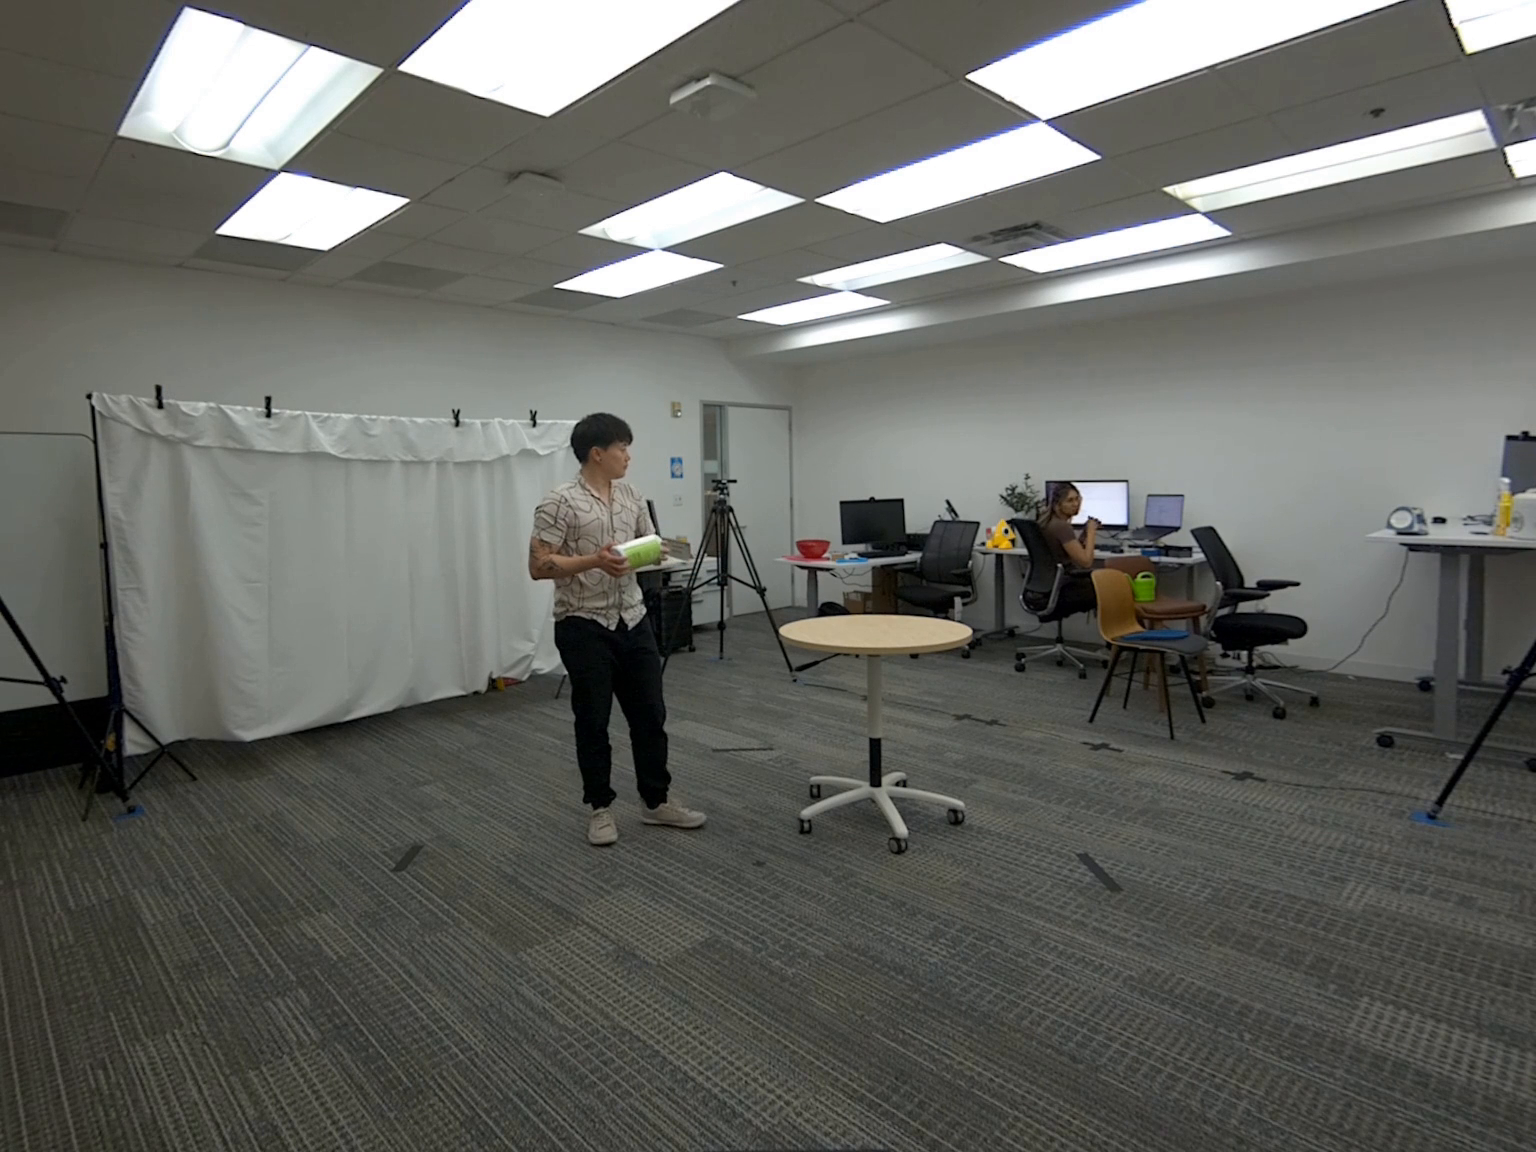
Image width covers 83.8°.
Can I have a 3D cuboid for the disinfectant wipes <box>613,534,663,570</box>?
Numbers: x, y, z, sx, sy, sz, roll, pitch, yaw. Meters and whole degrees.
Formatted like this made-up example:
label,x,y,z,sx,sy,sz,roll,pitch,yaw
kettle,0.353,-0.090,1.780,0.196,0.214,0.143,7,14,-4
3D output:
label,x,y,z,sx,sy,sz,roll,pitch,yaw
disinfectant wipes,-0.494,-0.078,3.215,0.121,0.116,0.214,2,15,33
